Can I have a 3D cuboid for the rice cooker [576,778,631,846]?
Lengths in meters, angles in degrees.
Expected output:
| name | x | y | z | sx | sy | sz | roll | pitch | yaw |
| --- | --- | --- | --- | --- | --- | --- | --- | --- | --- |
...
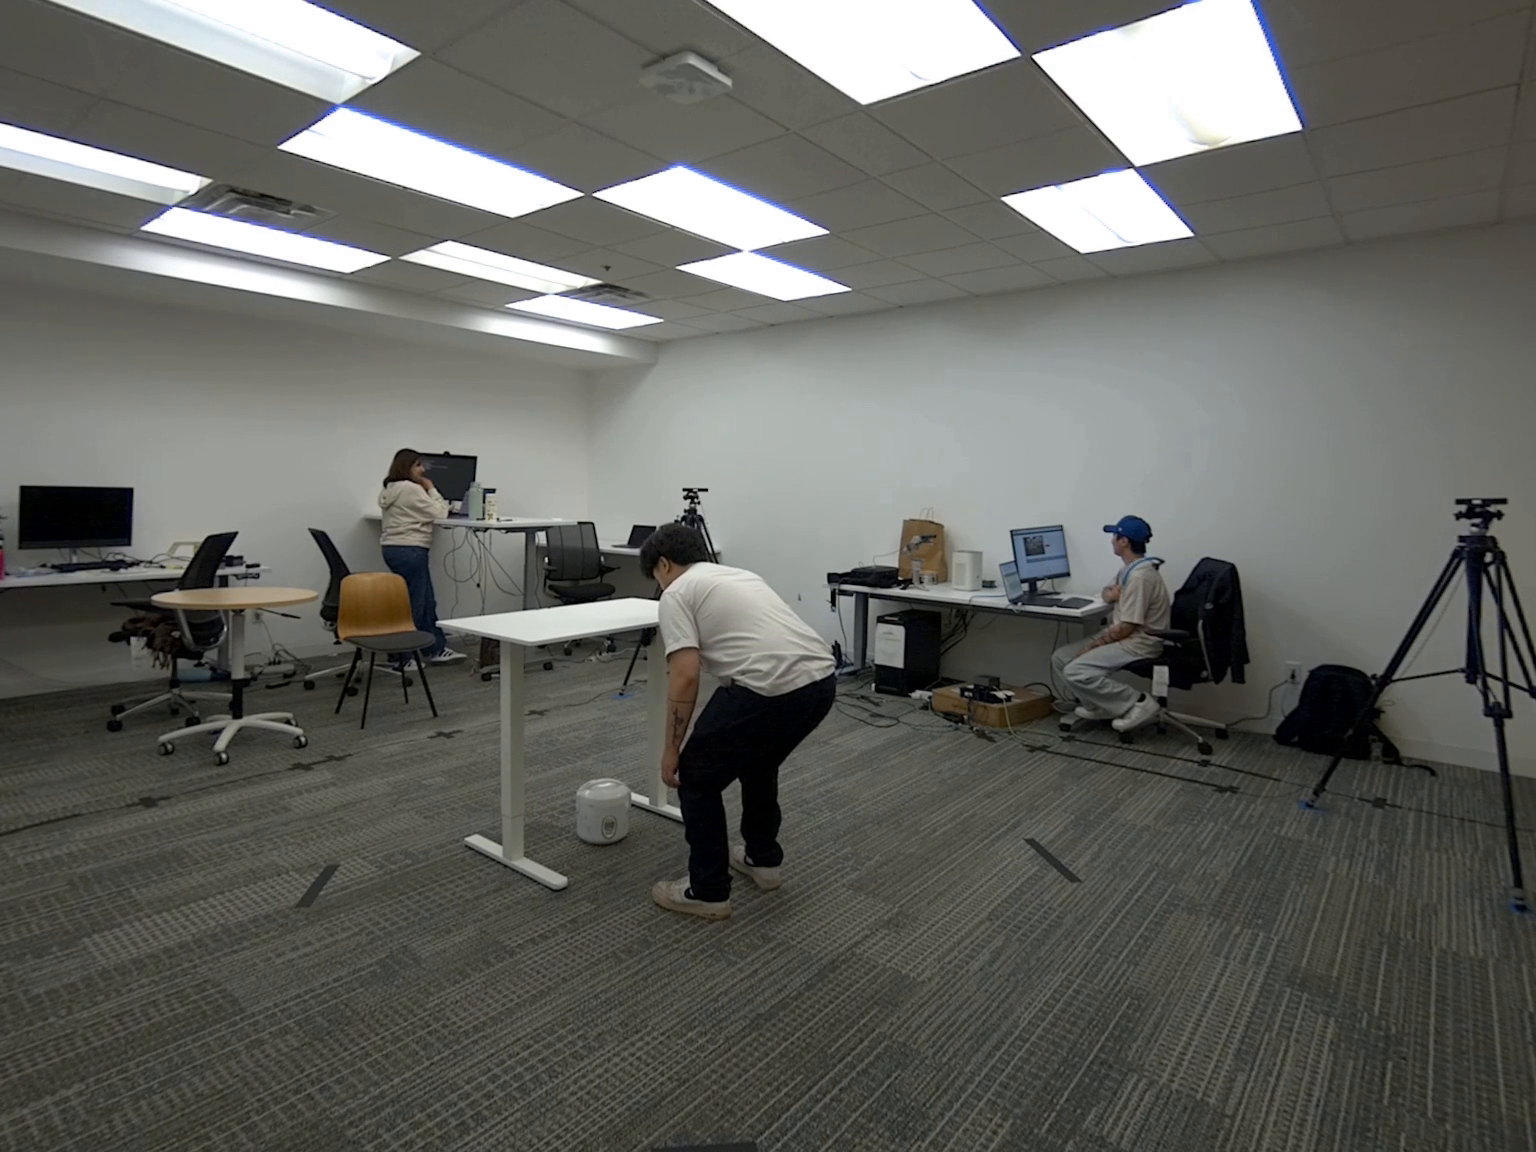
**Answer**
| name | x | y | z | sx | sy | sz | roll | pitch | yaw |
| --- | --- | --- | --- | --- | --- | --- | --- | --- | --- |
| rice cooker | -0.666 | 0.920 | 3.377 | 0.216 | 0.232 | 0.223 | -1 | 4 | -22 |
